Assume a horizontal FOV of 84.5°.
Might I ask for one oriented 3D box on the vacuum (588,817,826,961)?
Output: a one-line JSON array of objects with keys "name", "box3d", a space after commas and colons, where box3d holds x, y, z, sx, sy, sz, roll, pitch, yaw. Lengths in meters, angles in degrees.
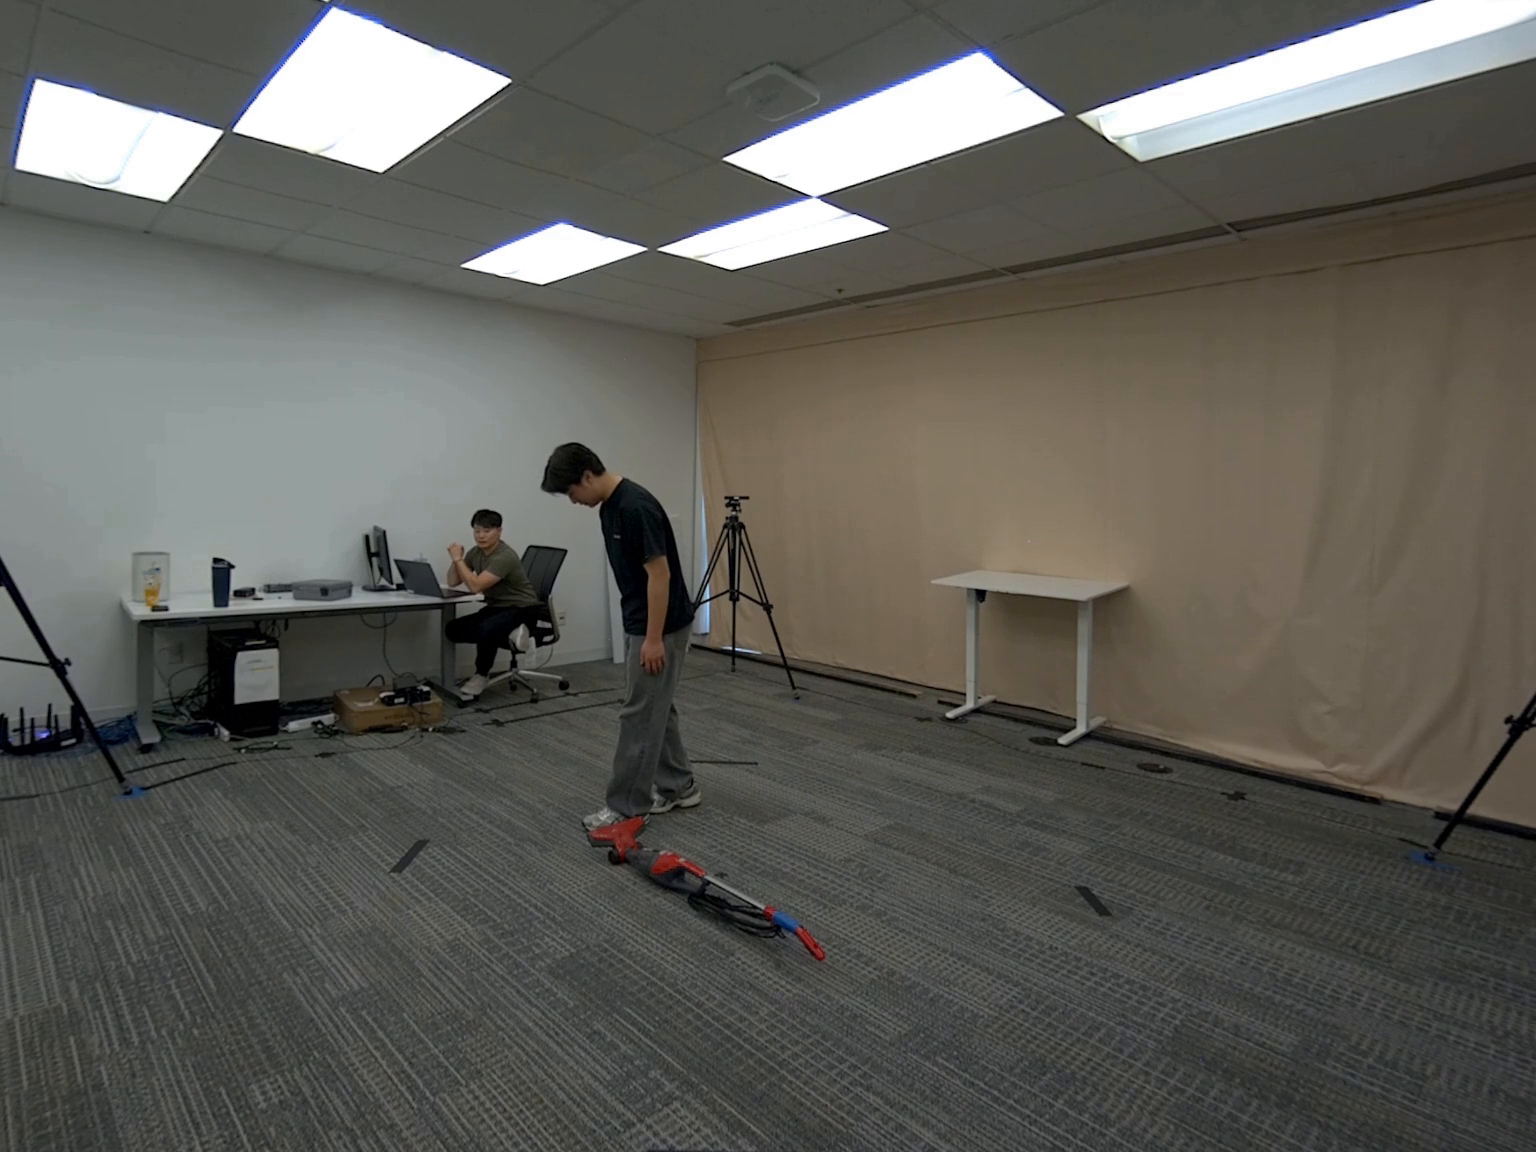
[{"name": "vacuum", "box3d": [-0.220, 1.072, 2.848, 0.247, 0.143, 1.077, -2, 7, -42]}]
